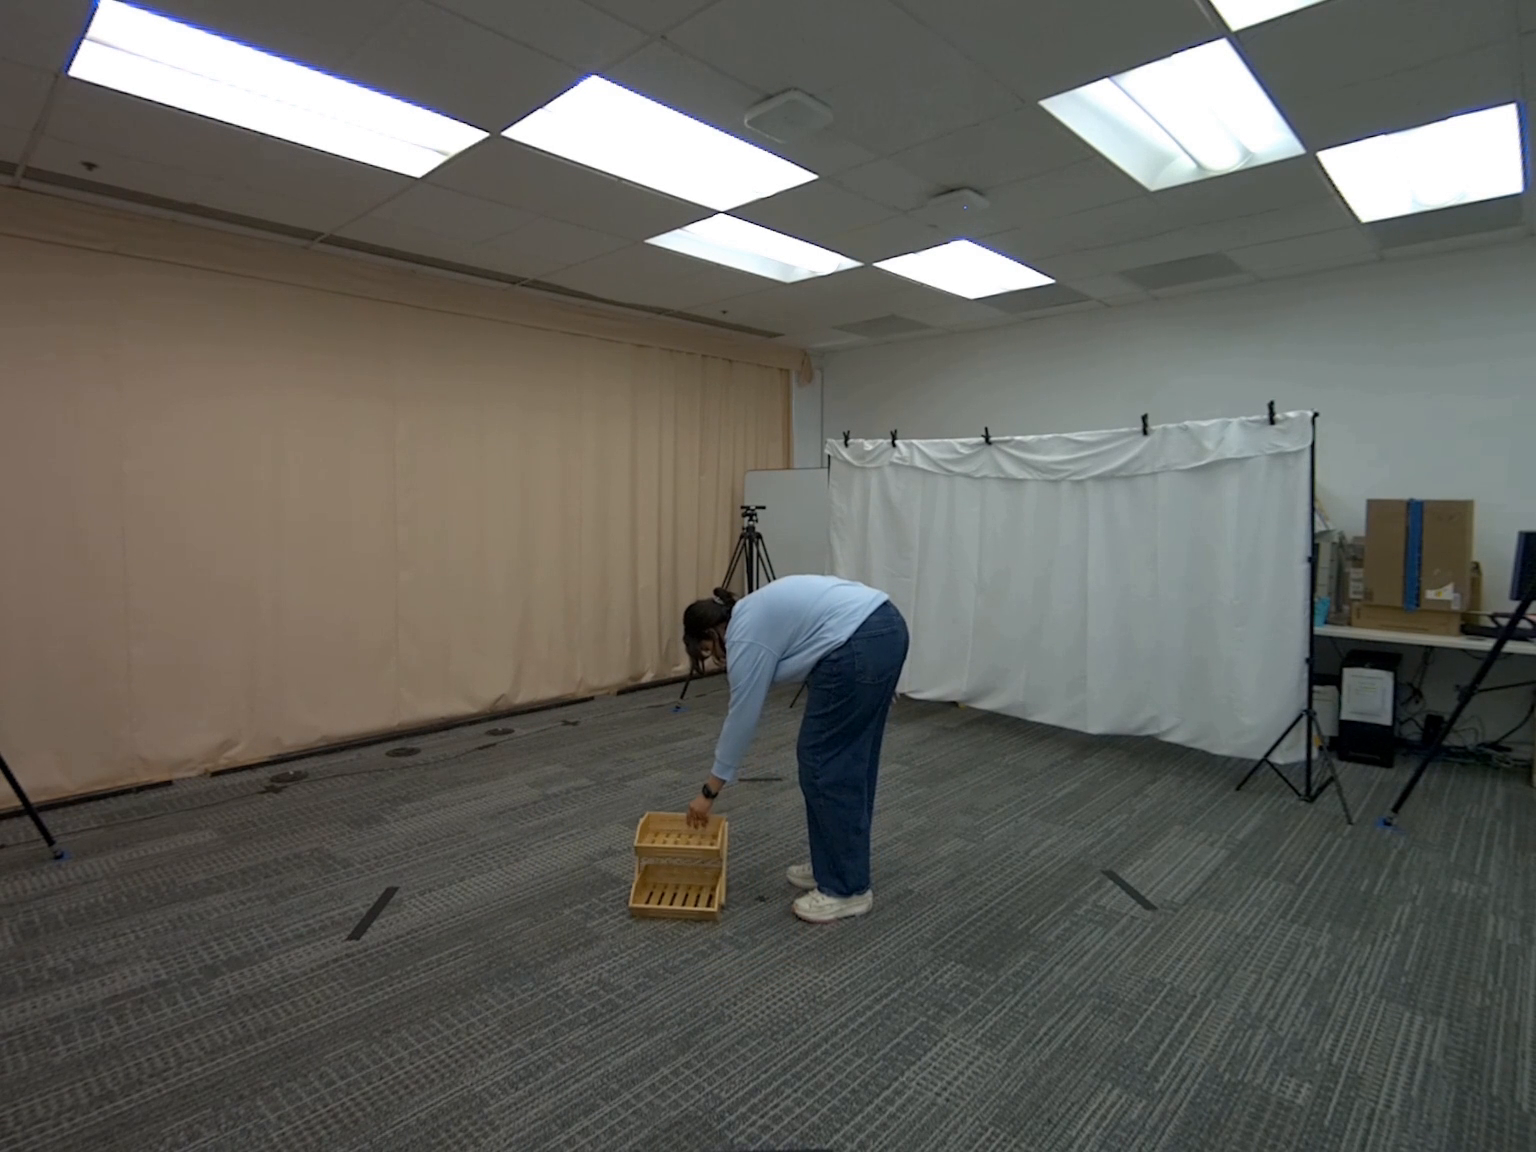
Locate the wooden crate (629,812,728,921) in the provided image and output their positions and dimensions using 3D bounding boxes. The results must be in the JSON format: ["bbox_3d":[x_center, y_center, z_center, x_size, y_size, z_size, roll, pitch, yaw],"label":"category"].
[{"bbox_3d":[-0.303,1.019,2.955,0.327,0.273,0.300,0,3,5],"label":"wooden crate"}]
